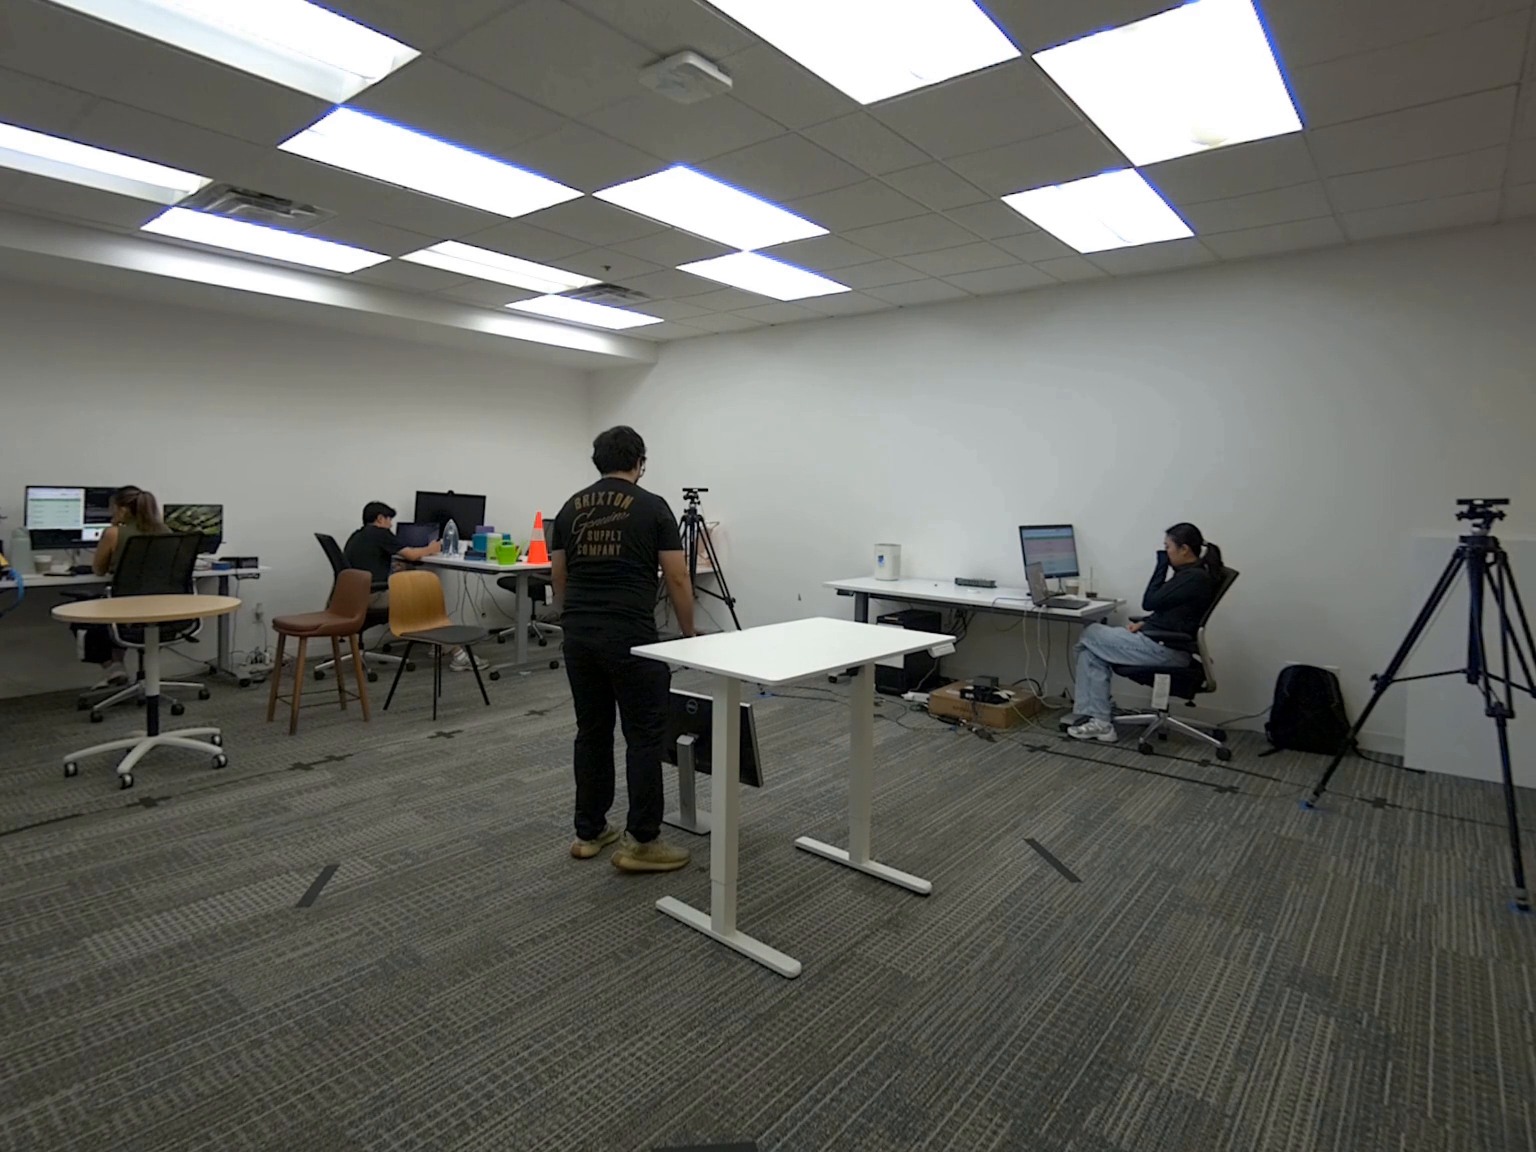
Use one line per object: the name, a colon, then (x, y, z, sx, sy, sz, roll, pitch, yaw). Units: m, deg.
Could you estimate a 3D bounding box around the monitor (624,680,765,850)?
monitor: (-0.322, 0.761, 3.516, 0.584, 0.550, 0.205, 4, 10, 37)
